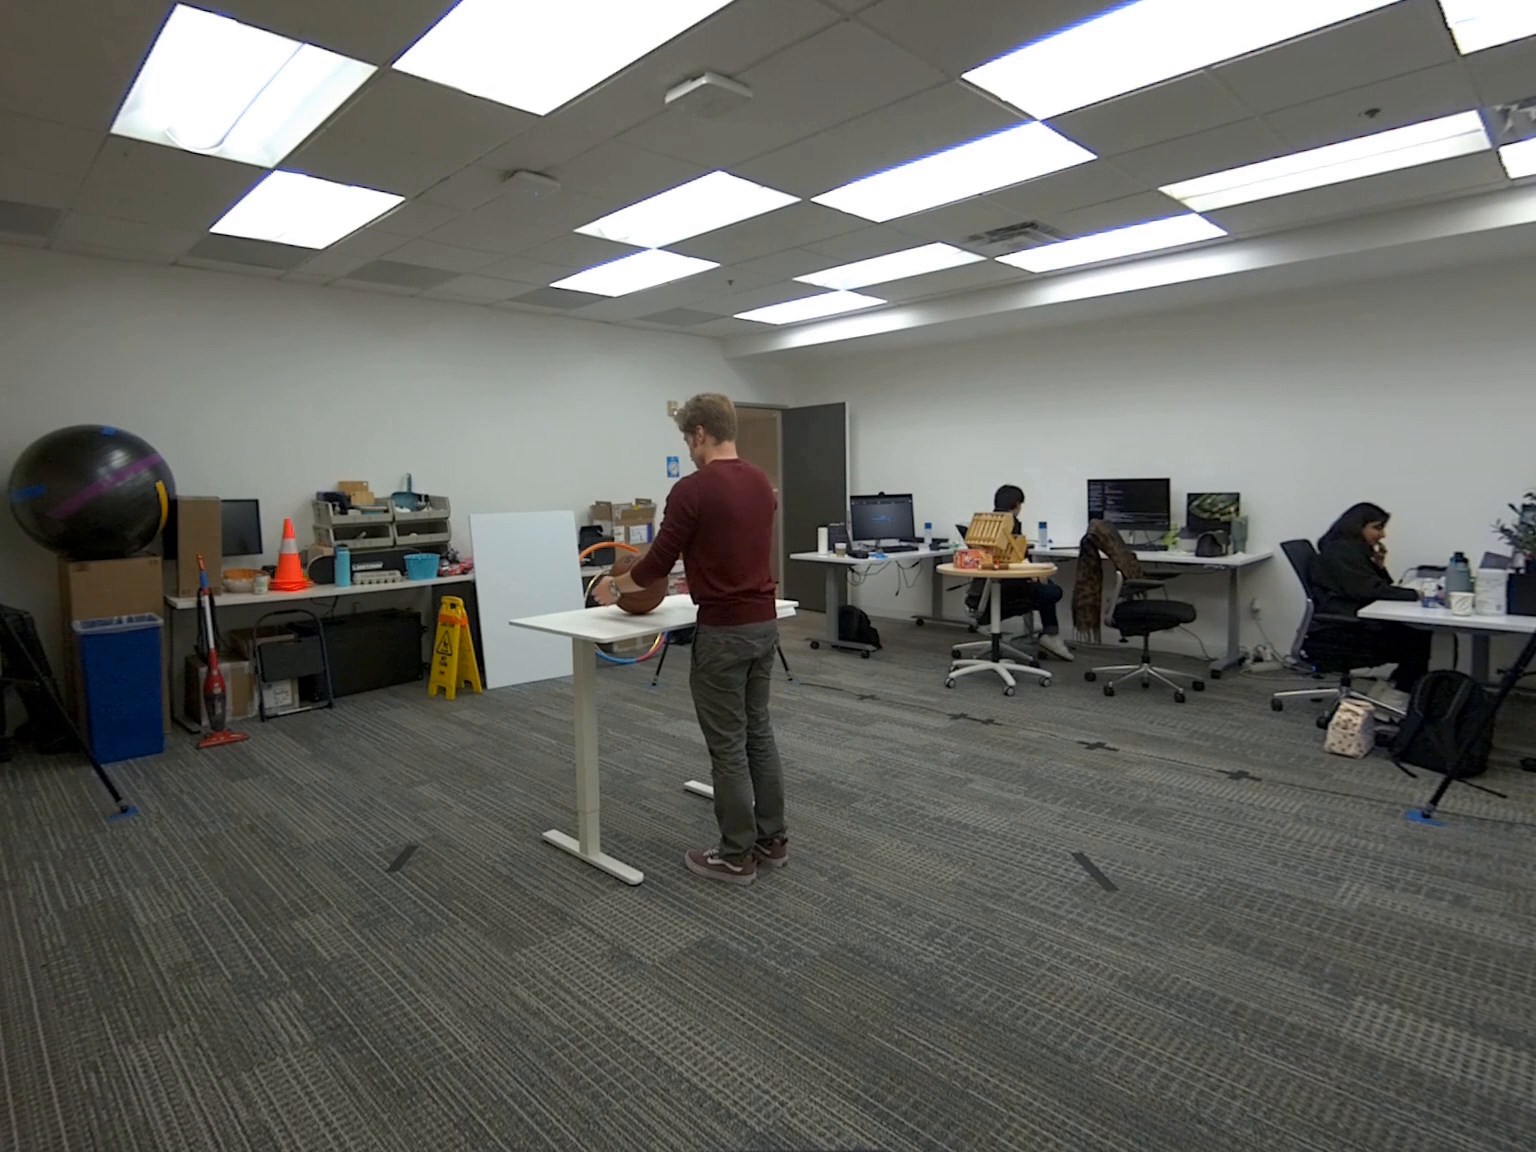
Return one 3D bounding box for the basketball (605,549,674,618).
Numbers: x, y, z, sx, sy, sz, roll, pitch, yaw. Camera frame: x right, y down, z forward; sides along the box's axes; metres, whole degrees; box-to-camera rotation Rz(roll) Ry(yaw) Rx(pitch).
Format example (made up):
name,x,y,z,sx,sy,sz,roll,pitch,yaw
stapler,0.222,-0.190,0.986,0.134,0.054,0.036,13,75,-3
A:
name,x,y,z,sx,sy,sz,roll,pitch,yaw
basketball,-0.497,0.022,3.326,0.236,0.235,0.237,-1,5,-2
